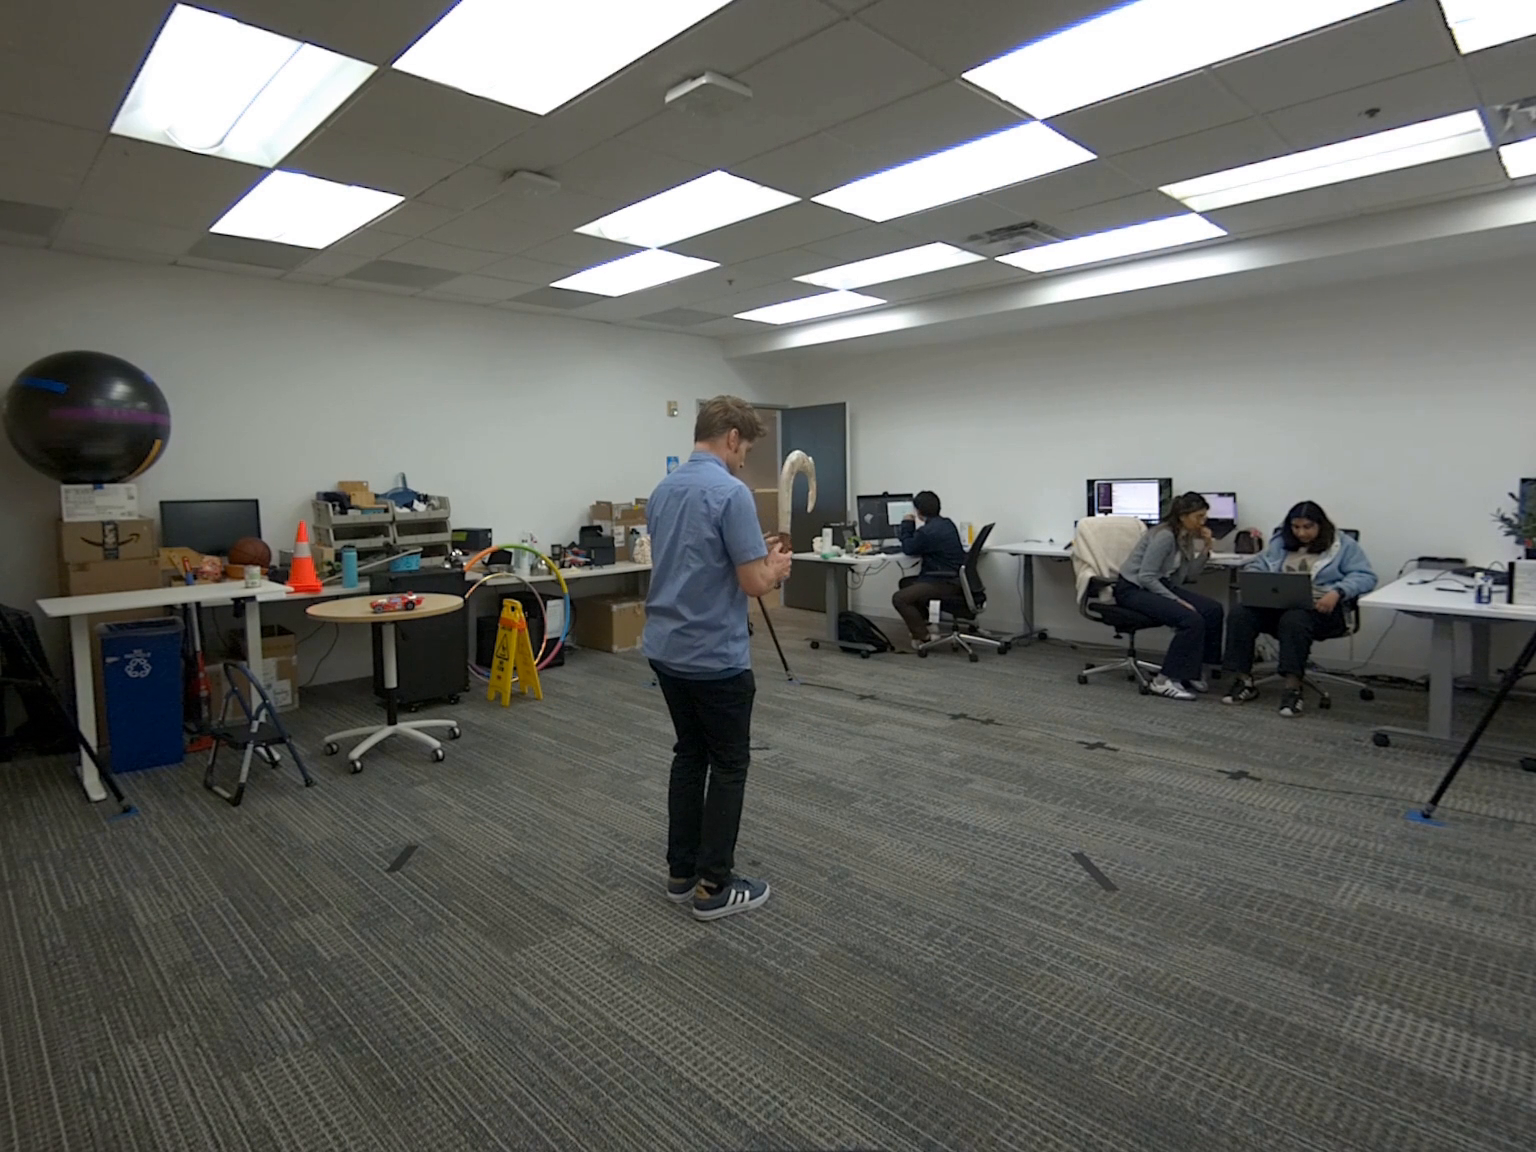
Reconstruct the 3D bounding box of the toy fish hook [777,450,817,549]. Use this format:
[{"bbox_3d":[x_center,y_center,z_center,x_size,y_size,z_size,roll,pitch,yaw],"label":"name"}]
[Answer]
[{"bbox_3d":[0.104,-0.195,3.036,0.050,0.510,0.216,1,-13,41],"label":"toy fish hook"}]
